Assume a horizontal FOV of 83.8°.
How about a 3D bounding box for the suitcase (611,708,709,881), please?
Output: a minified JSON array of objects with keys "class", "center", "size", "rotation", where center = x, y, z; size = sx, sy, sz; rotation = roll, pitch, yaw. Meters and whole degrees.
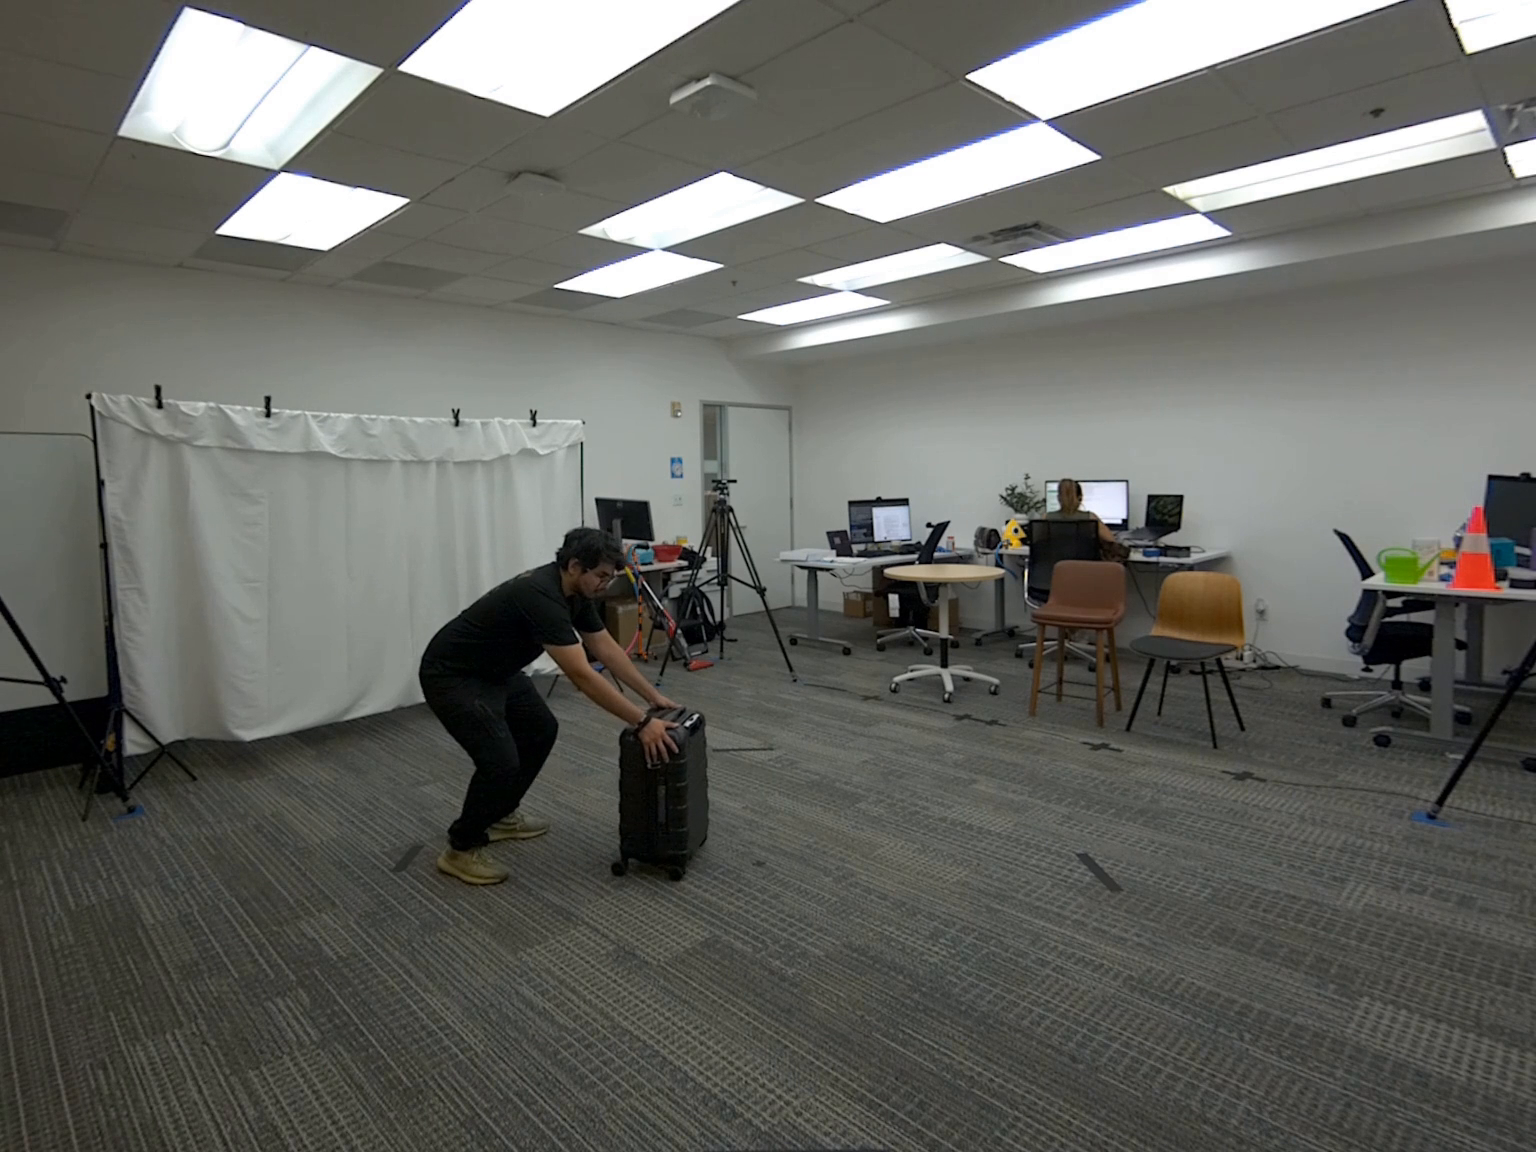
[{"class":"suitcase","center":[-0.382,0.774,3.139],"size":[0.251,0.547,0.372],"rotation":[2,5,11]}]
